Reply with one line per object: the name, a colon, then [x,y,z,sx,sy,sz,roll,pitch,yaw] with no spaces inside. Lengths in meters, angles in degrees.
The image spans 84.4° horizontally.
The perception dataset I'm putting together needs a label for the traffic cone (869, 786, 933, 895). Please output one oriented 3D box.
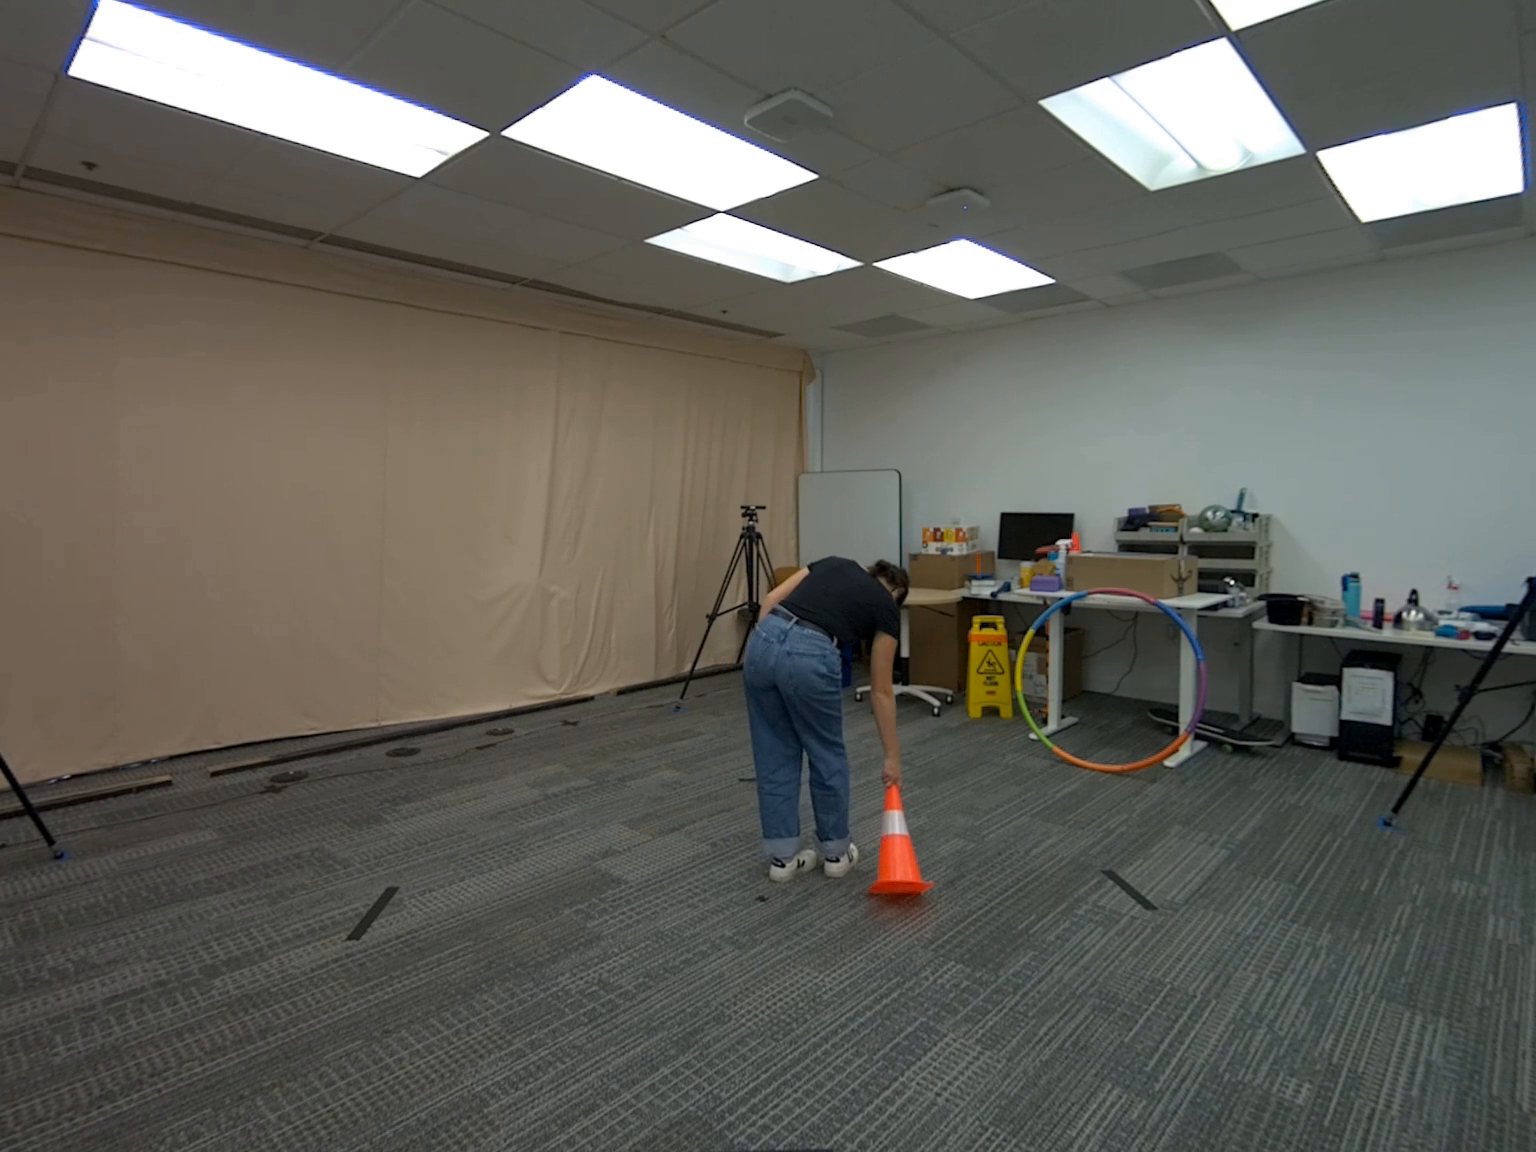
traffic cone: [0.469,0.930,3.033,0.203,0.390,0.202,2,-31,-2]
